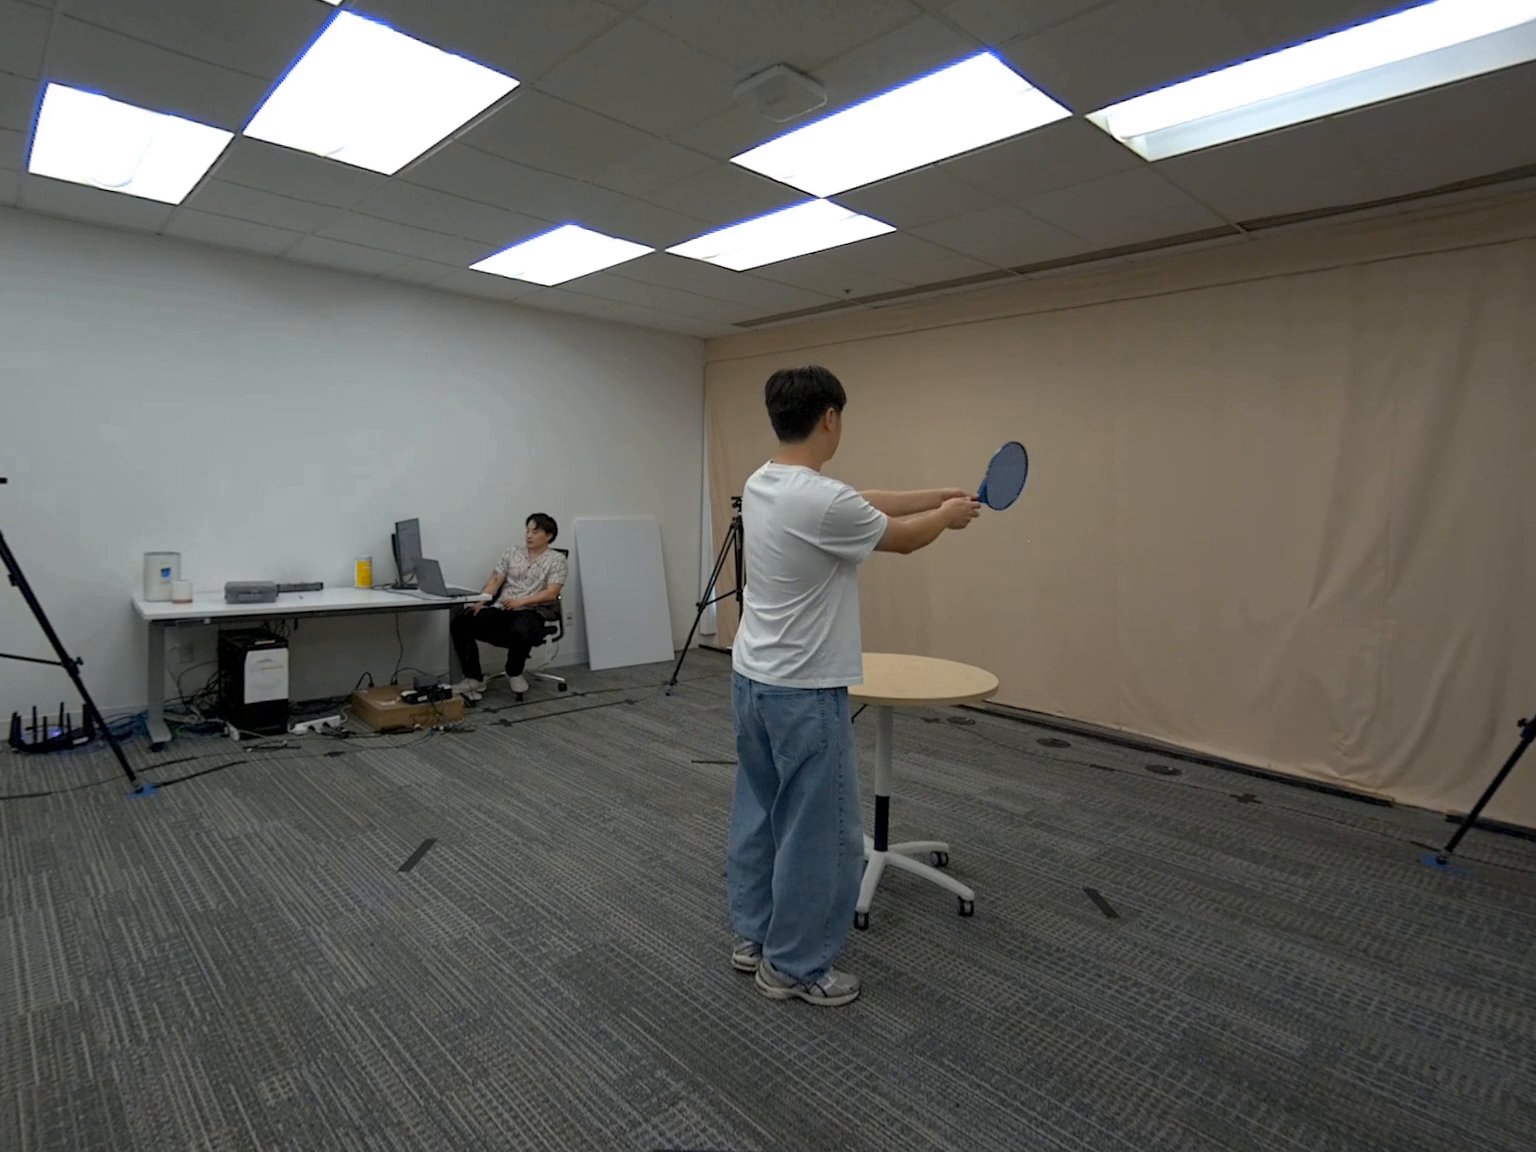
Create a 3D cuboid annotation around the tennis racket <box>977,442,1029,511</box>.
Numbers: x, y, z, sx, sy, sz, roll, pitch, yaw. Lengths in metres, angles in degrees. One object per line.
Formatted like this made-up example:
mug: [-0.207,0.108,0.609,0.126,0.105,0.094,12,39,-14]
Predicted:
tennis racket: [0.702,-0.275,2.669,0.032,0.209,0.431,9,39,44]
